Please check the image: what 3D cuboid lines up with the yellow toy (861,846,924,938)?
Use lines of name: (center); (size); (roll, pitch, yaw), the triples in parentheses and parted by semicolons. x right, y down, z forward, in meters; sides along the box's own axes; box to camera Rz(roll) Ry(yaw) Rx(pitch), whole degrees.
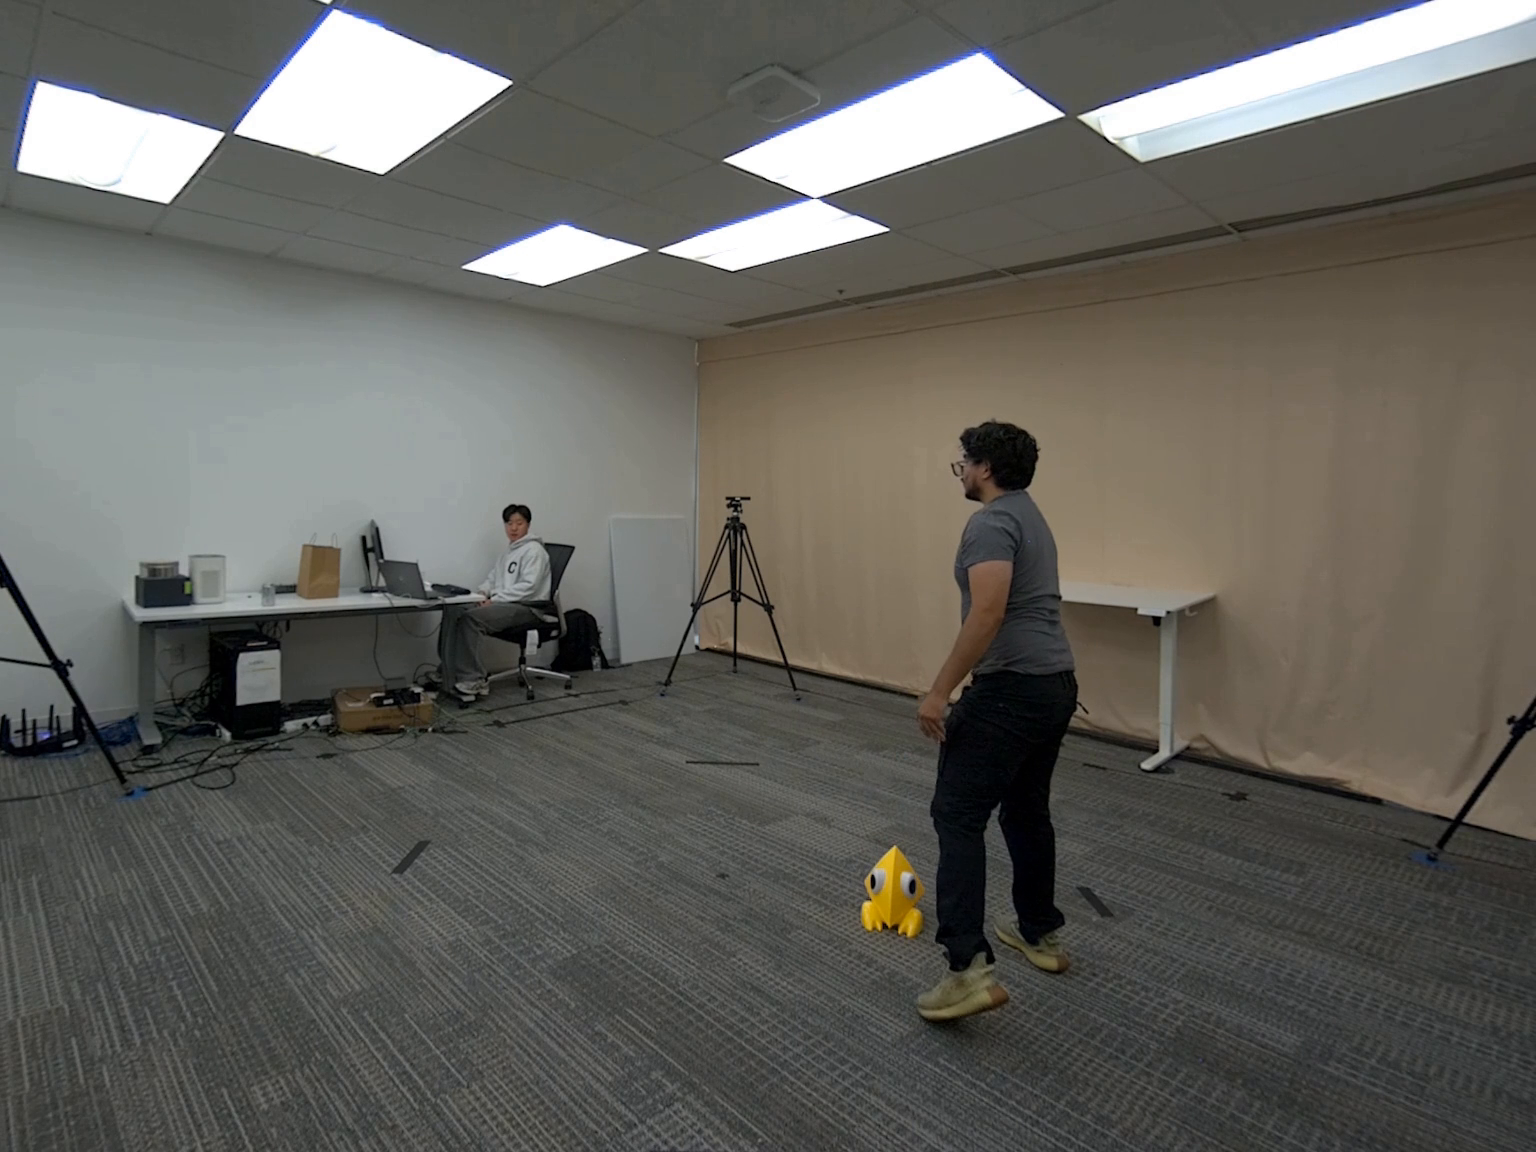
yellow toy: (0.408, 1.035, 2.789); (0.207, 0.230, 0.191); (3, 4, 13)
